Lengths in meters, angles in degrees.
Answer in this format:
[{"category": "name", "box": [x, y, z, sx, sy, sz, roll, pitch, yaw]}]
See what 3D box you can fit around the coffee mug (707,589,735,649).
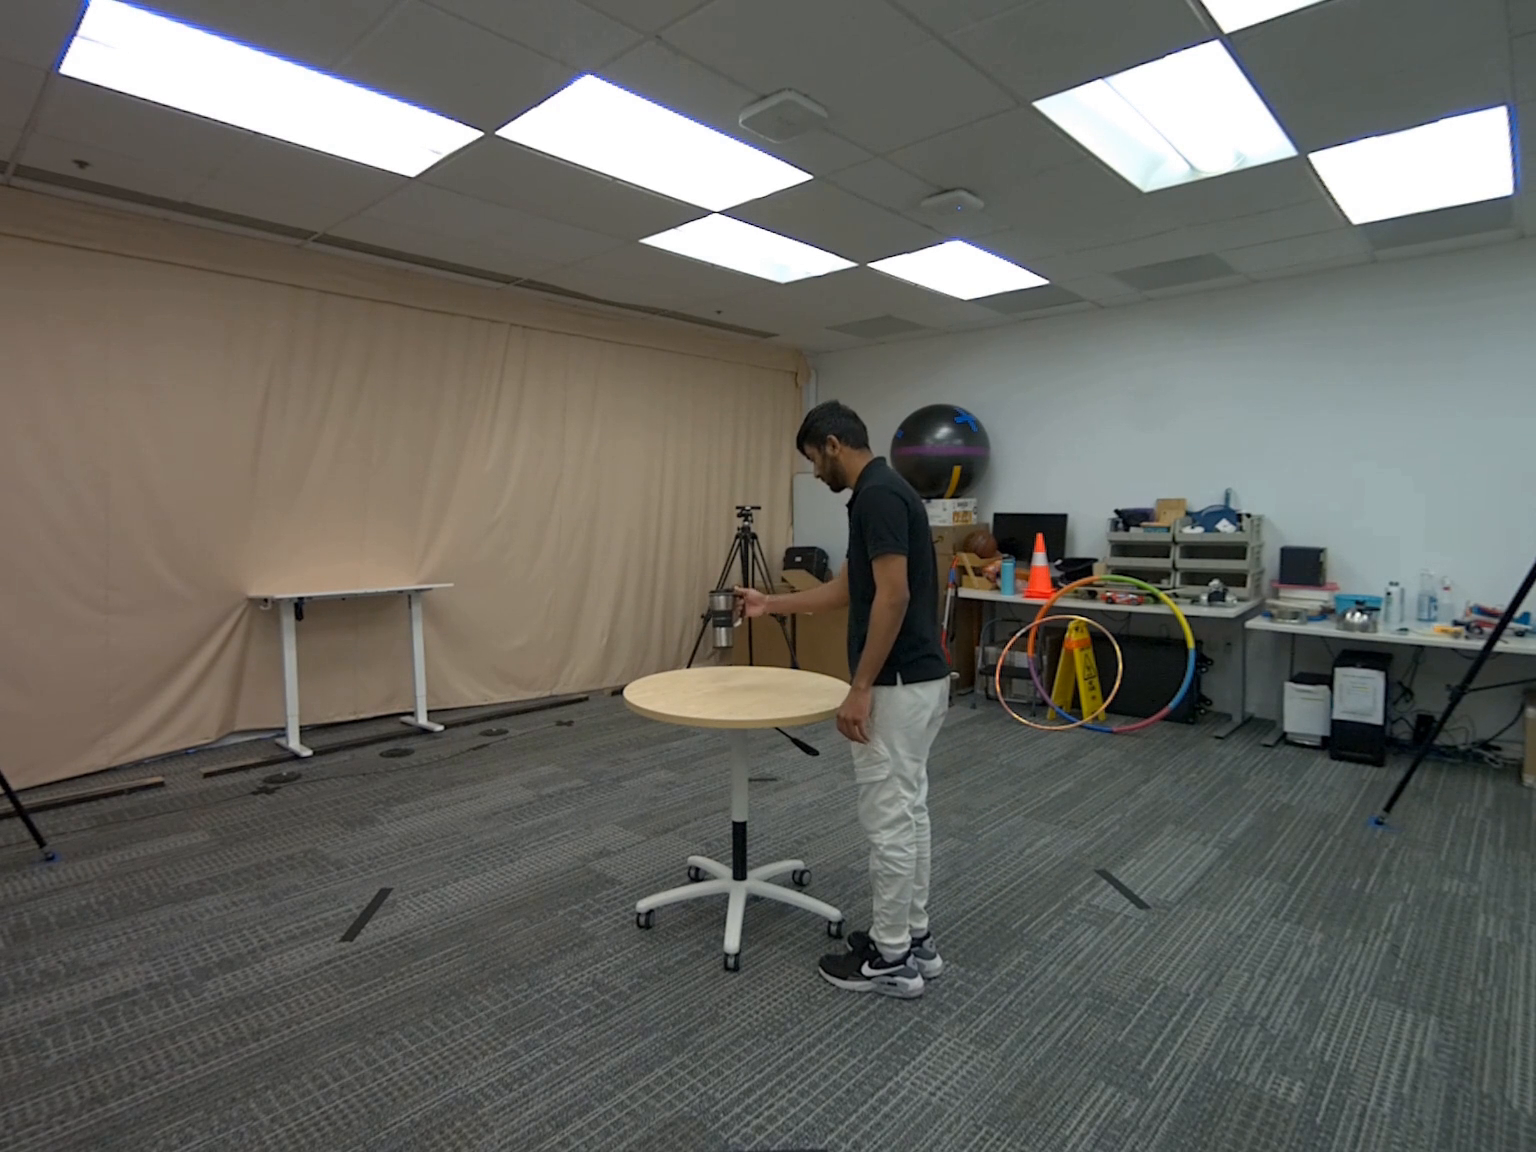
[{"category": "coffee mug", "box": [-0.130, 0.151, 2.841, 0.125, 0.204, 0.085, -7, -7, 44]}]
